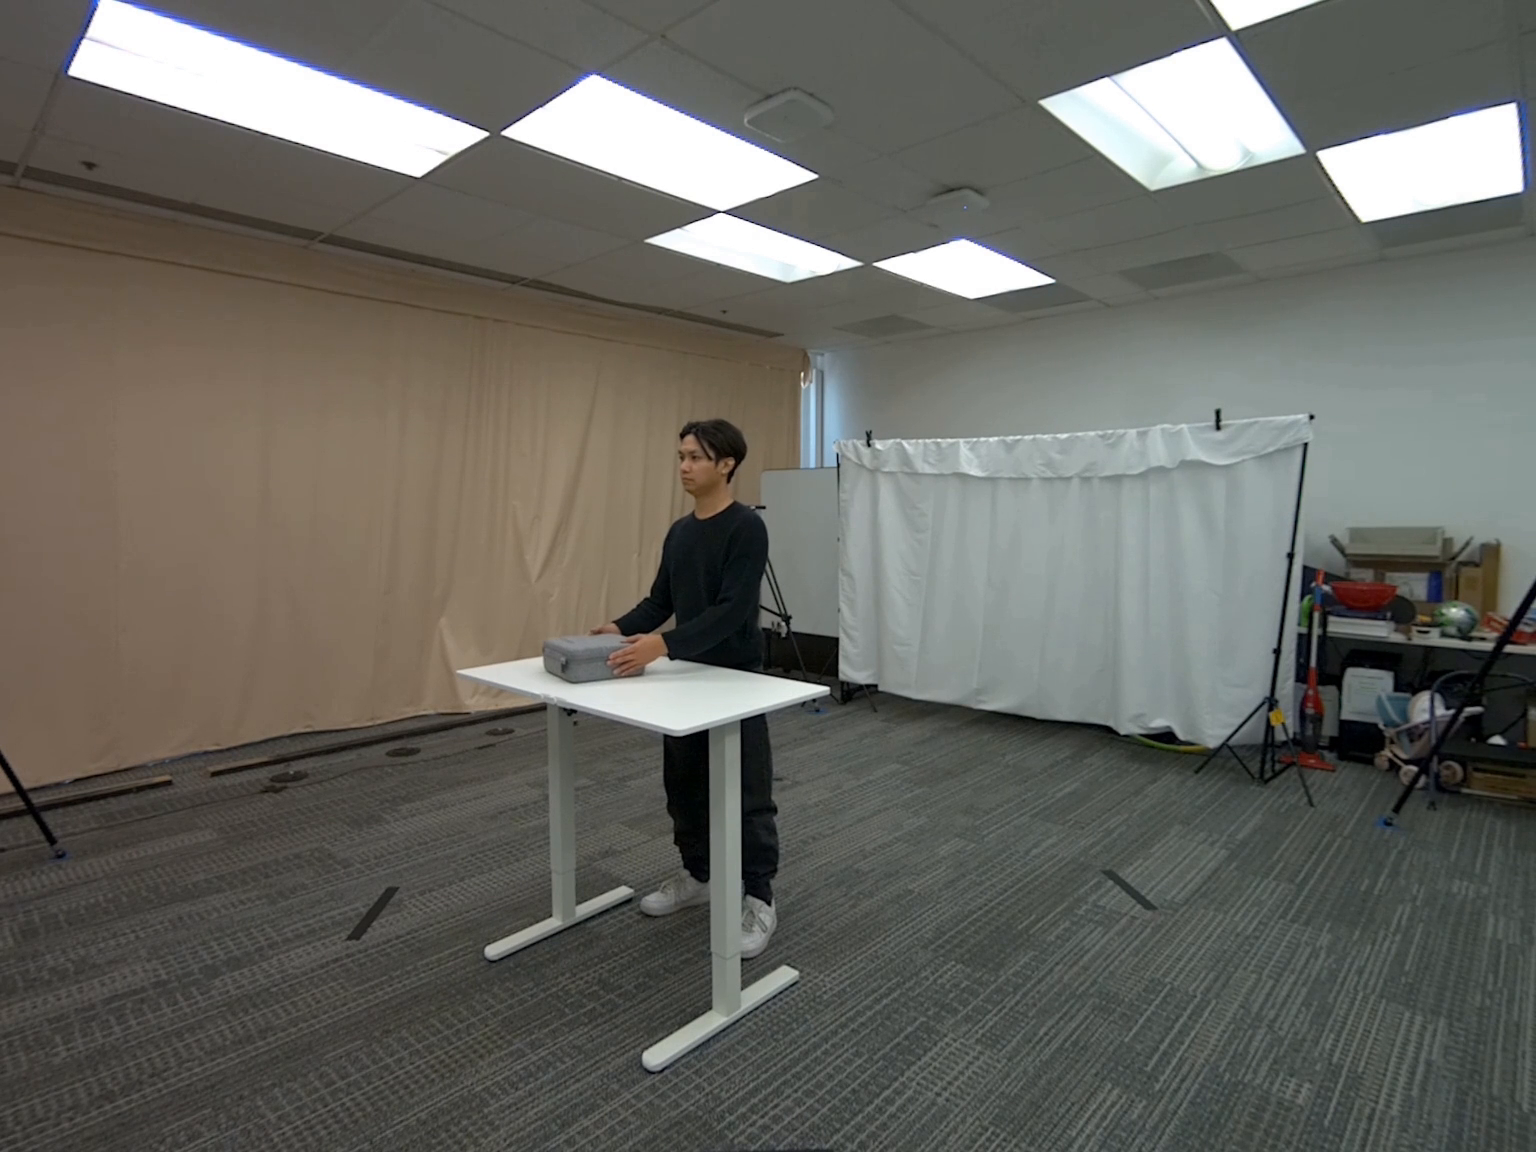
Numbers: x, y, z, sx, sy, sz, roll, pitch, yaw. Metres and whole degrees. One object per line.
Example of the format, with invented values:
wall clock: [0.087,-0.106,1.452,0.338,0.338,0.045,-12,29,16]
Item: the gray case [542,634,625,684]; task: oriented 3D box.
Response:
gray case: [-0.533,0.248,2.581,0.253,0.104,0.265,-4,6,-36]
